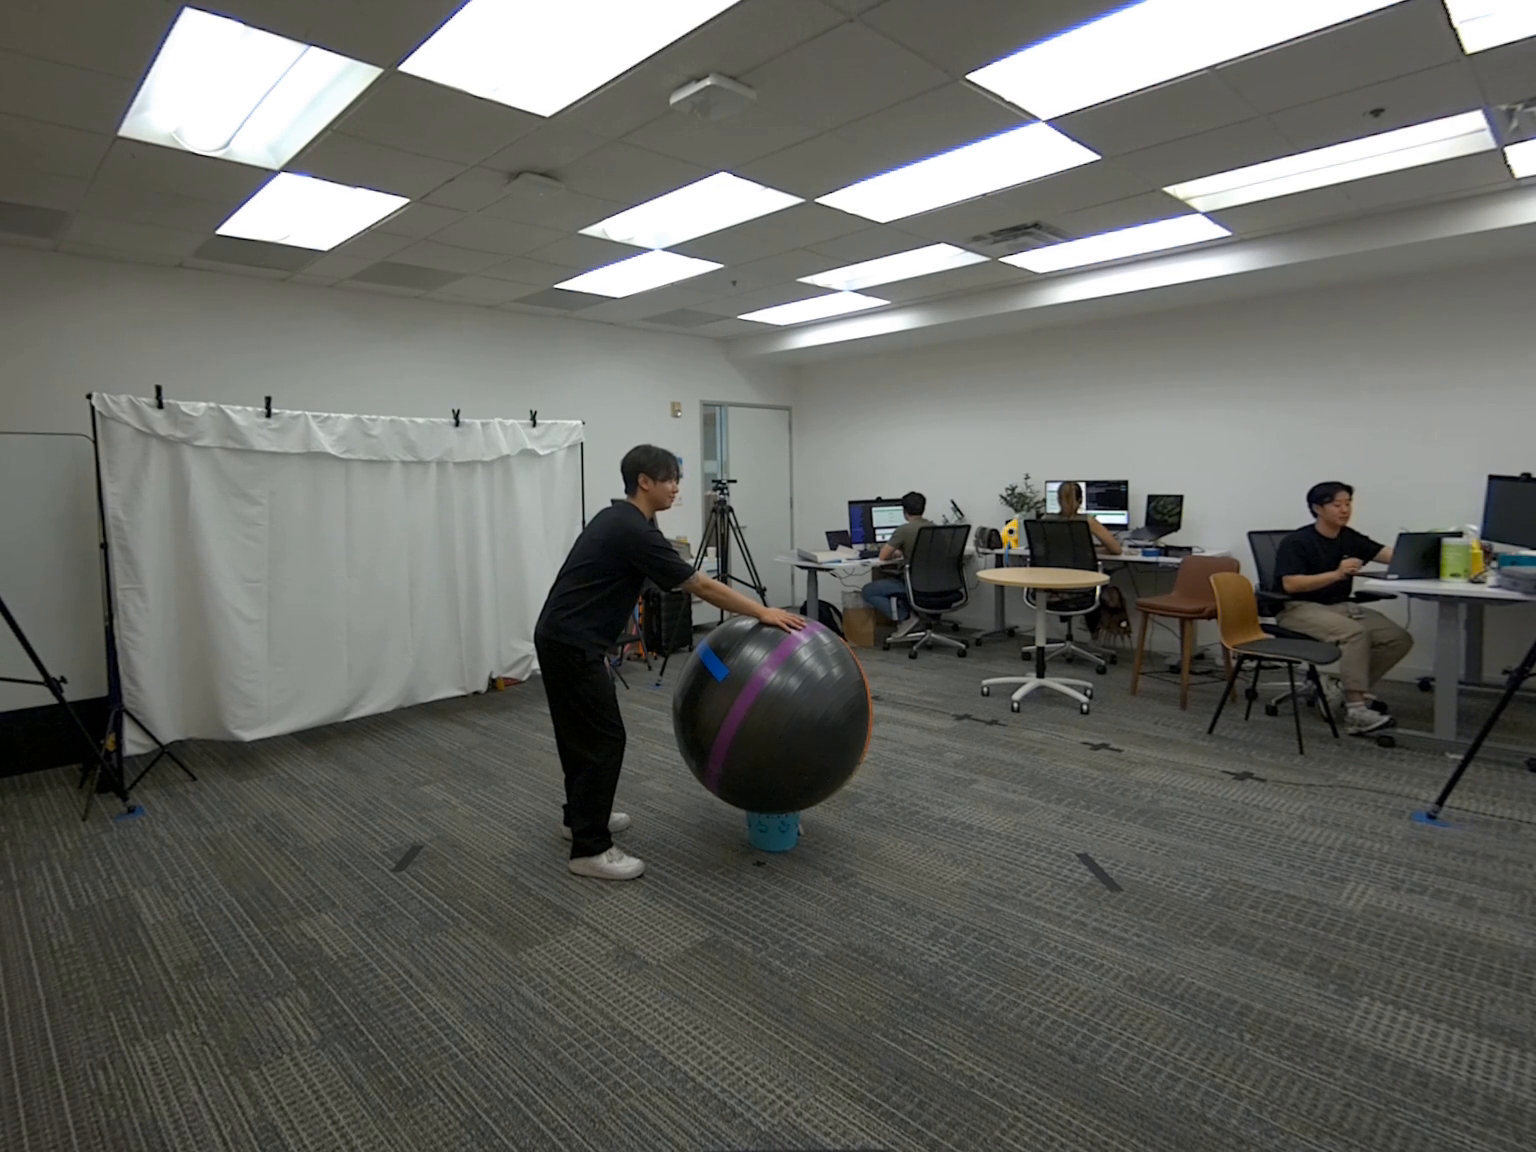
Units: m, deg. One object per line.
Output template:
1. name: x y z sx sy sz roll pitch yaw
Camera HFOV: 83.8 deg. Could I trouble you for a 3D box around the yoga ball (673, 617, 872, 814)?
1. yoga ball: 0.027 0.520 3.274 0.757 0.755 0.762 -1 5 -2
